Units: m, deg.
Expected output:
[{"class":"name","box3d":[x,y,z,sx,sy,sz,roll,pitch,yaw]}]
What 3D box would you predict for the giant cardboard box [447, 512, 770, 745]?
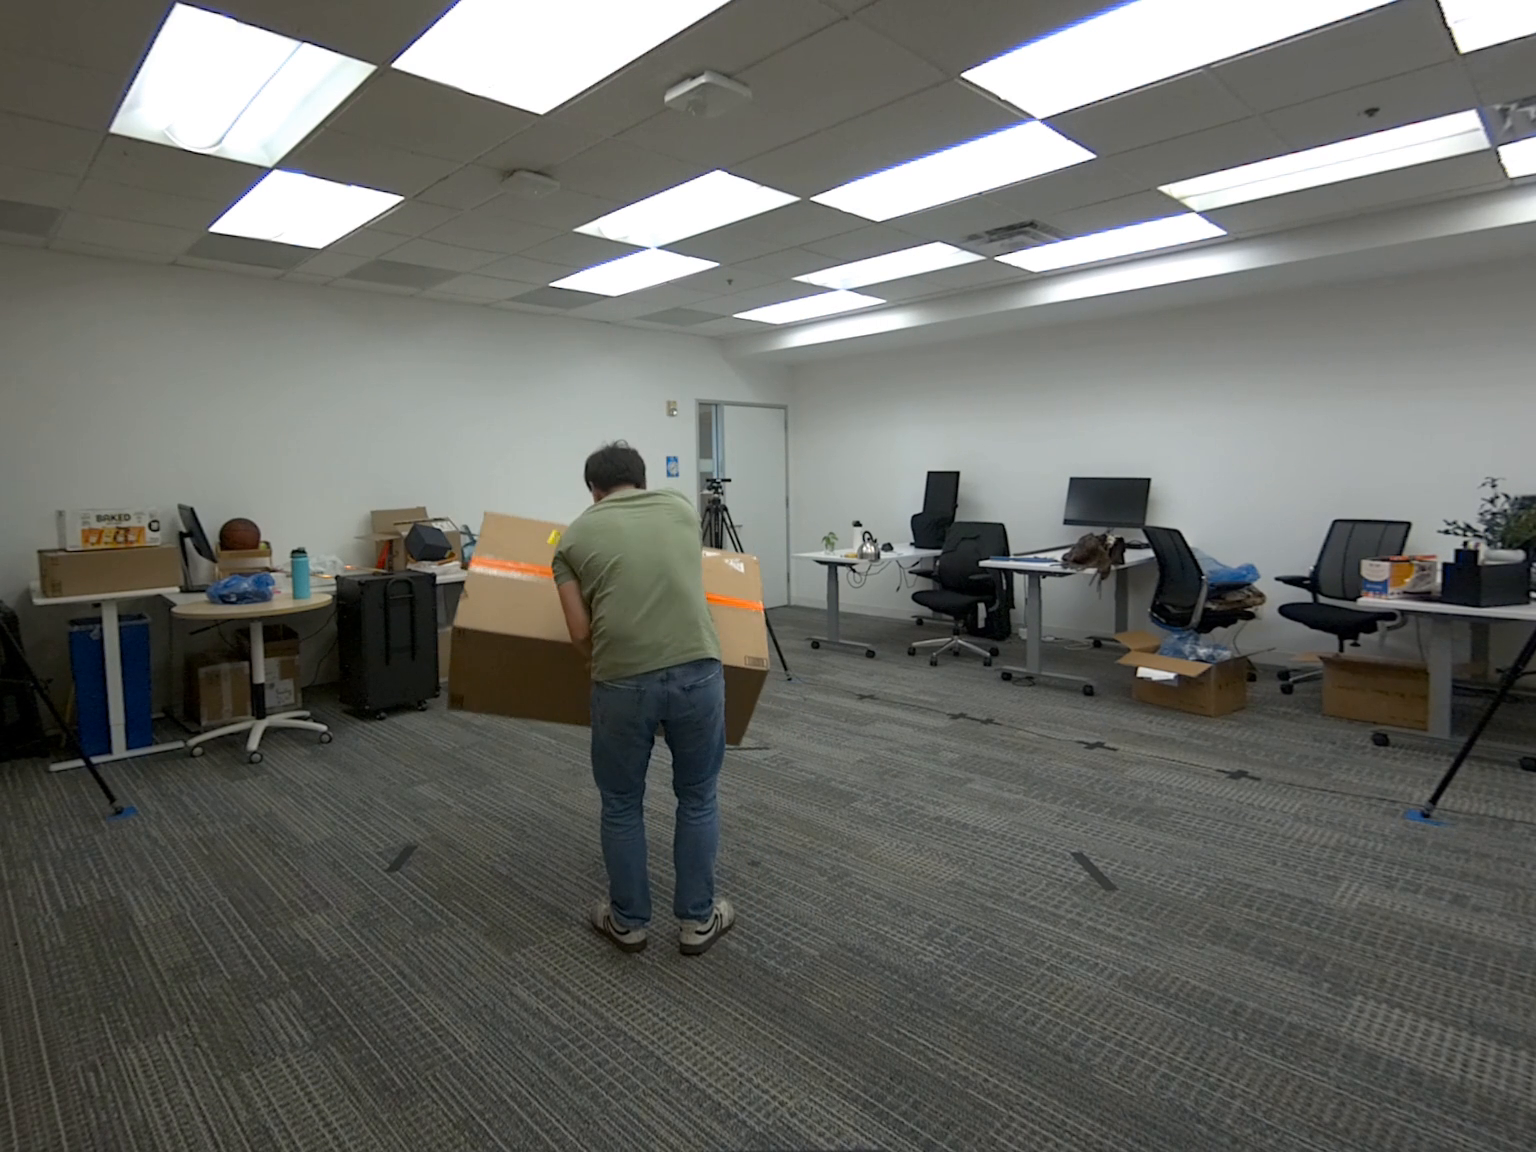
[{"class":"giant cardboard box","box3d":[-0.557,0.188,3.055,1.014,0.419,0.594,8,39,-11]}]
